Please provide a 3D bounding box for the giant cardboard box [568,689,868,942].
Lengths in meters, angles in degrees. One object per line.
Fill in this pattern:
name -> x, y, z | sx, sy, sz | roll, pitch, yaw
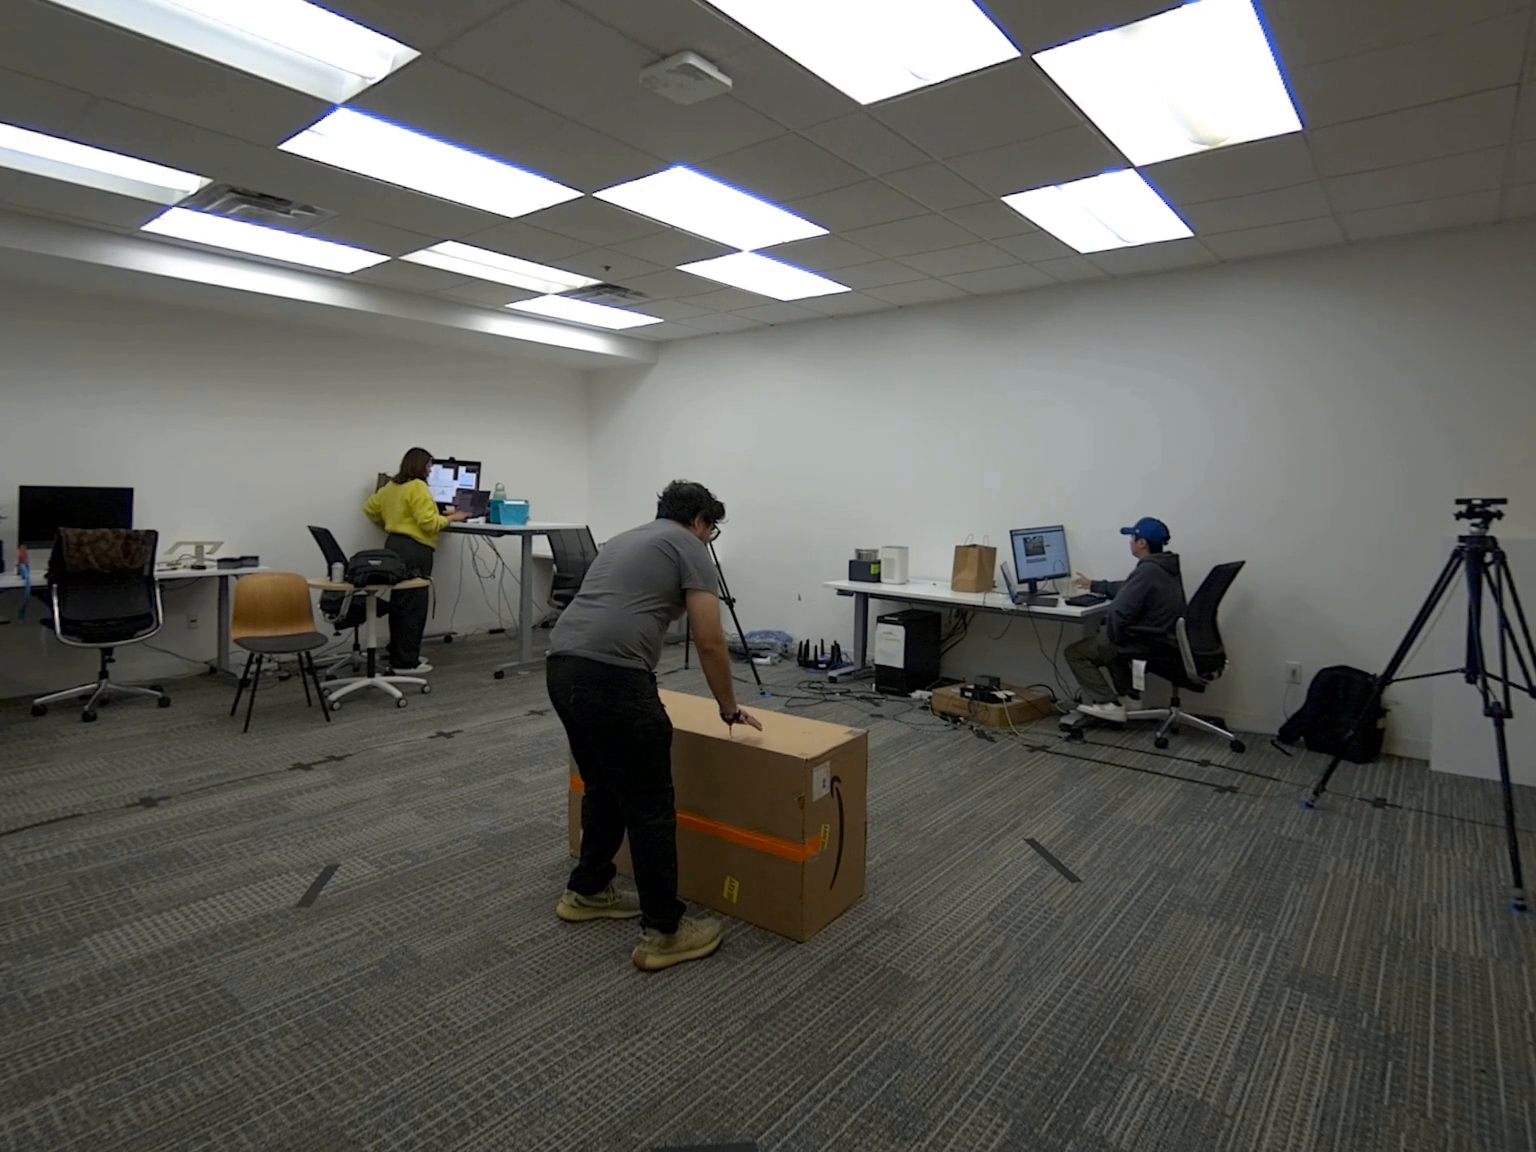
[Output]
giant cardboard box -> -0.212, 0.783, 3.055 | 1.059, 0.575, 0.414 | 5, 5, 35
